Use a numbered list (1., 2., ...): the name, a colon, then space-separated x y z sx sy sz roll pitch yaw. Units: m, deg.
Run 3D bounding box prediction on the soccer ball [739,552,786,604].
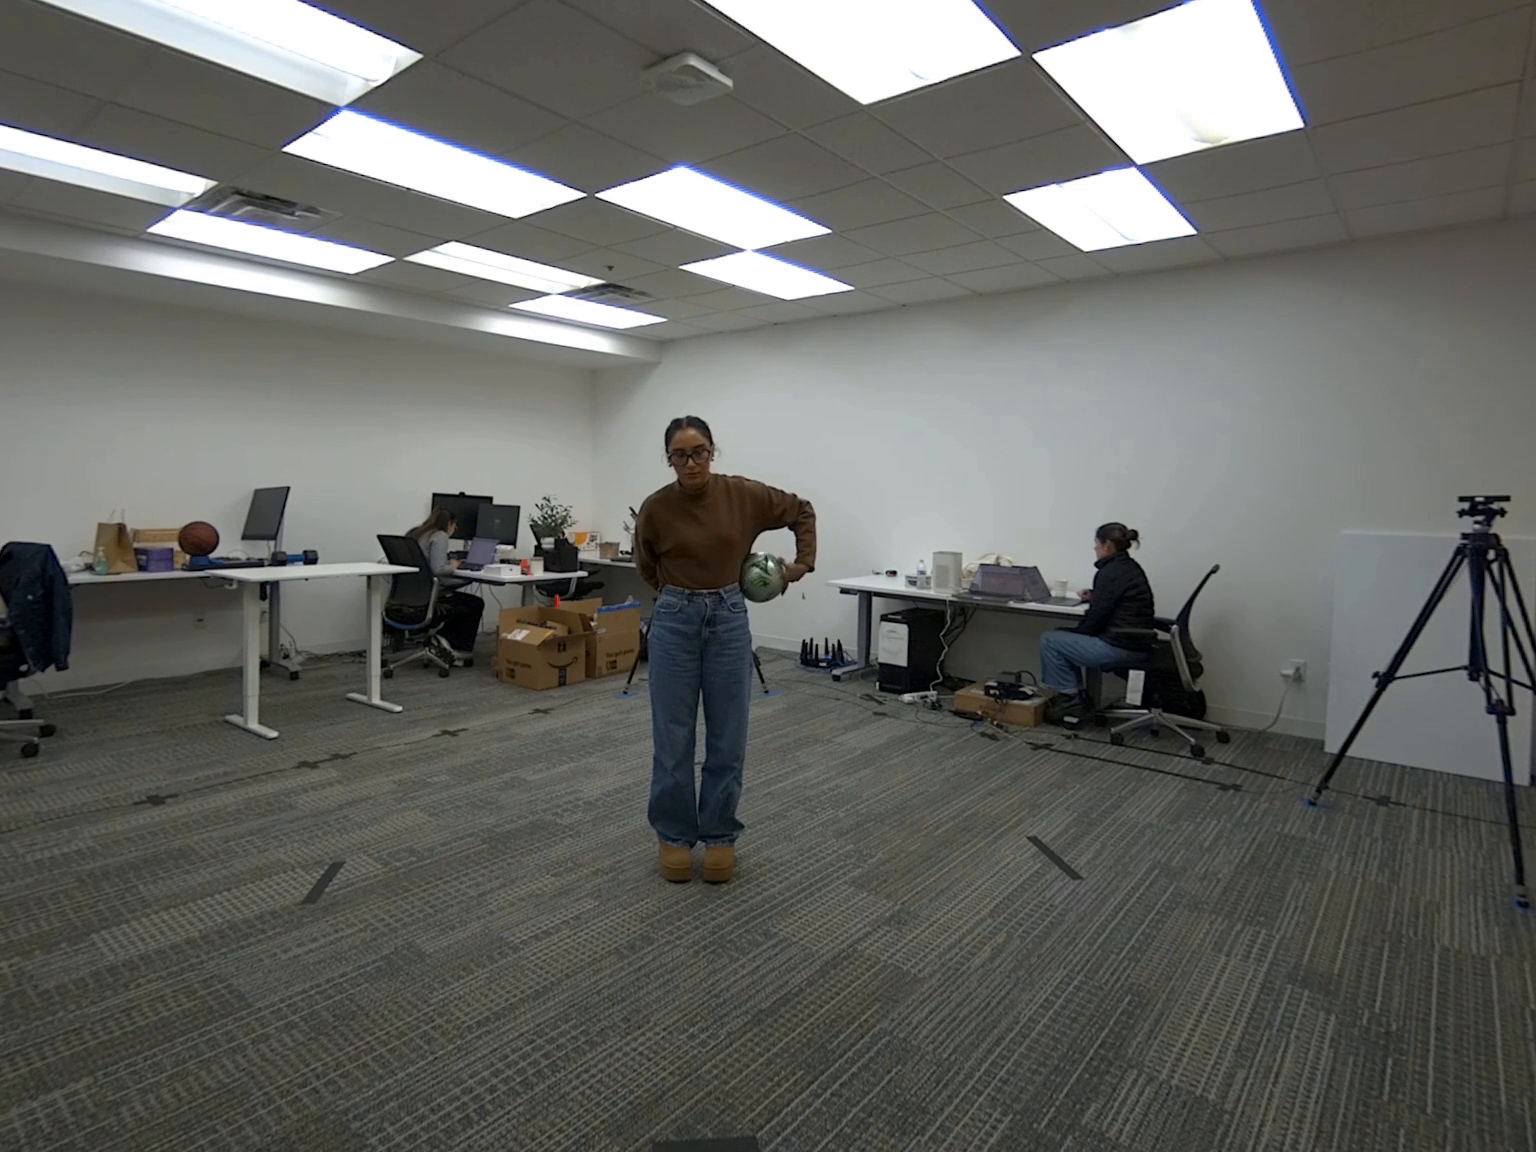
1. soccer ball: -0.045 0.004 3.133 0.187 0.187 0.188 1 4 -2
